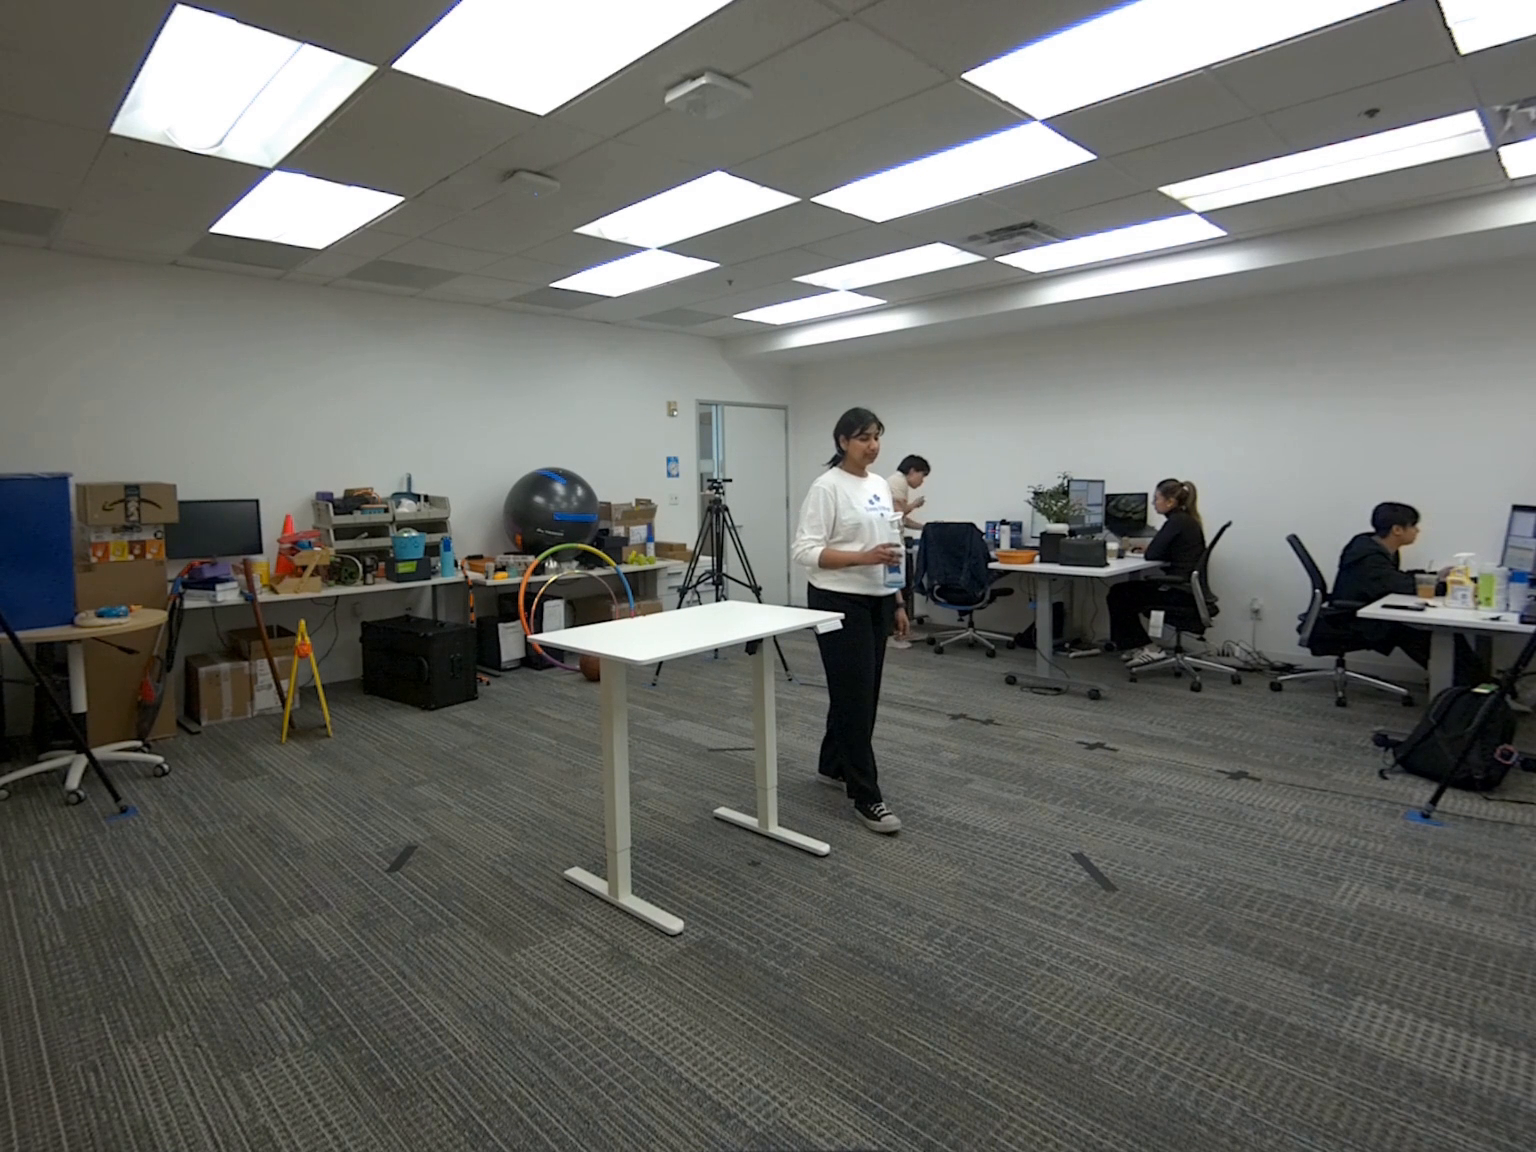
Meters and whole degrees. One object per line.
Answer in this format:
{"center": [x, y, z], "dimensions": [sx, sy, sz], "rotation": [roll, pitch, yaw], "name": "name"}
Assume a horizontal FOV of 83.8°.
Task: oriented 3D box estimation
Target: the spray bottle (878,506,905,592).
{"center": [0.506, -0.102, 3.412], "dimensions": [0.089, 0.296, 0.088], "rotation": [-1, 4, -15], "name": "spray bottle"}
